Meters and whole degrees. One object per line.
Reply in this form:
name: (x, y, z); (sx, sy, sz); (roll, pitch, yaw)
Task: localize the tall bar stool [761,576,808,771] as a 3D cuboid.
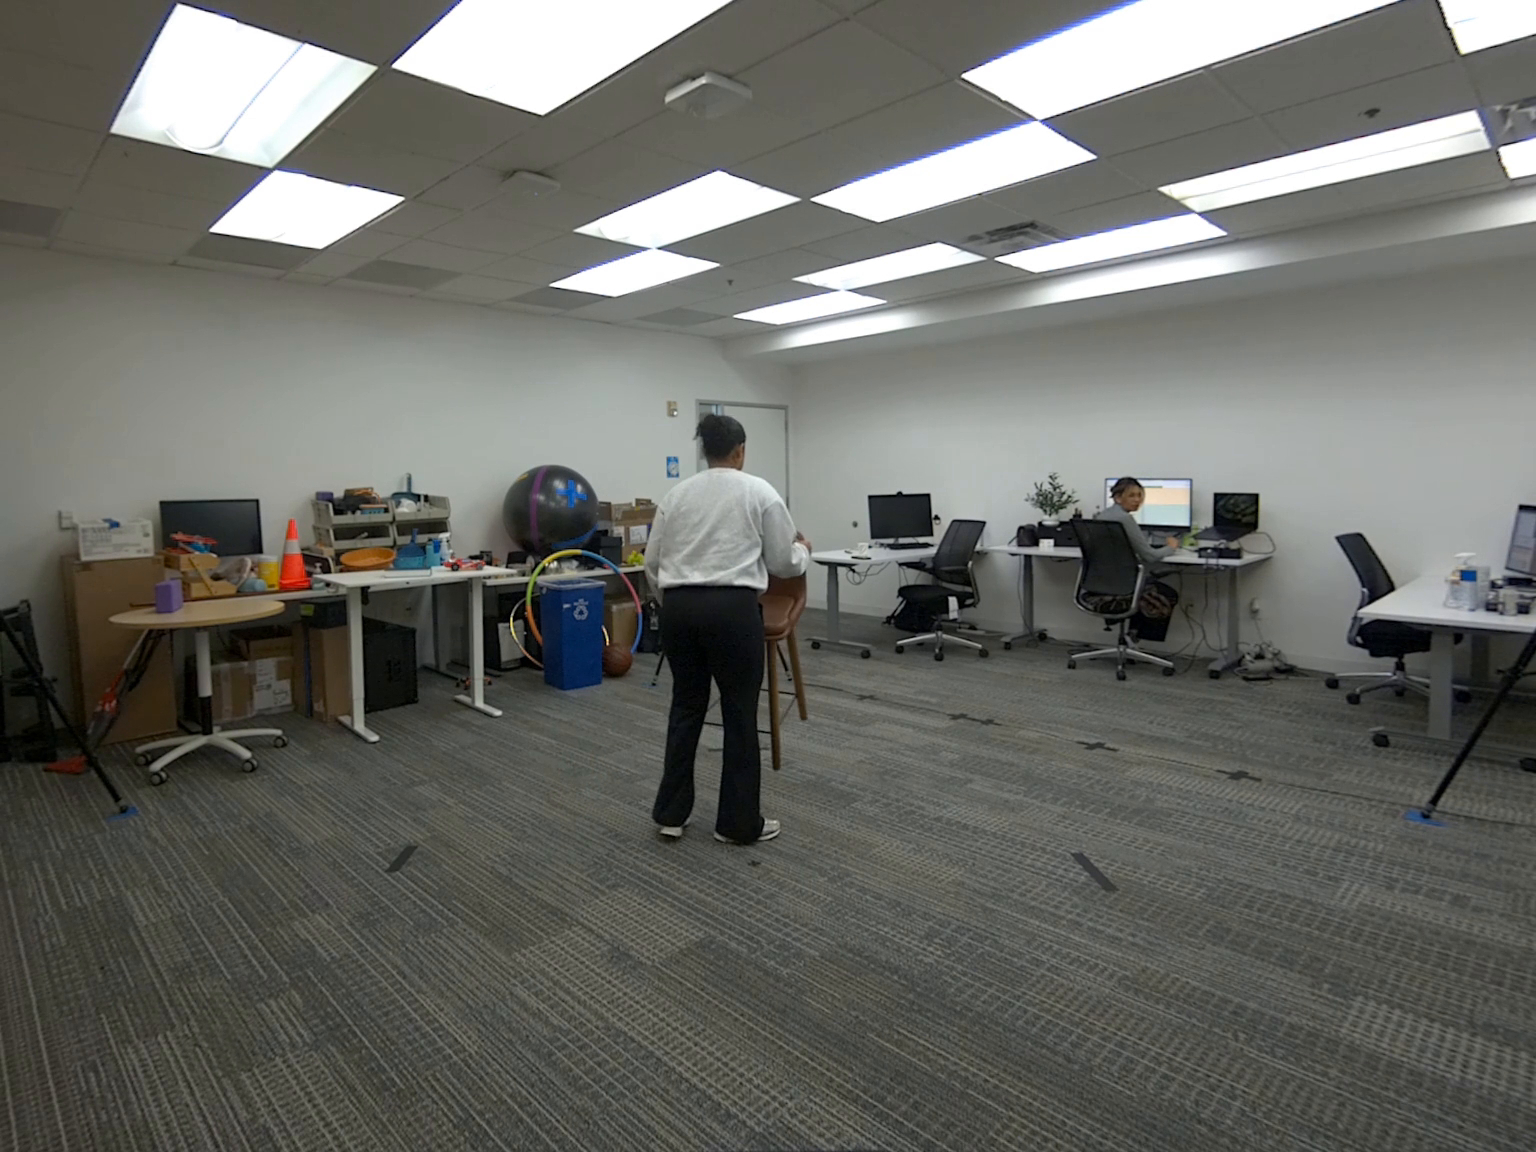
tall bar stool: (-0.085, 0.284, 3.579); (0.466, 0.877, 0.464); (4, 16, 21)
